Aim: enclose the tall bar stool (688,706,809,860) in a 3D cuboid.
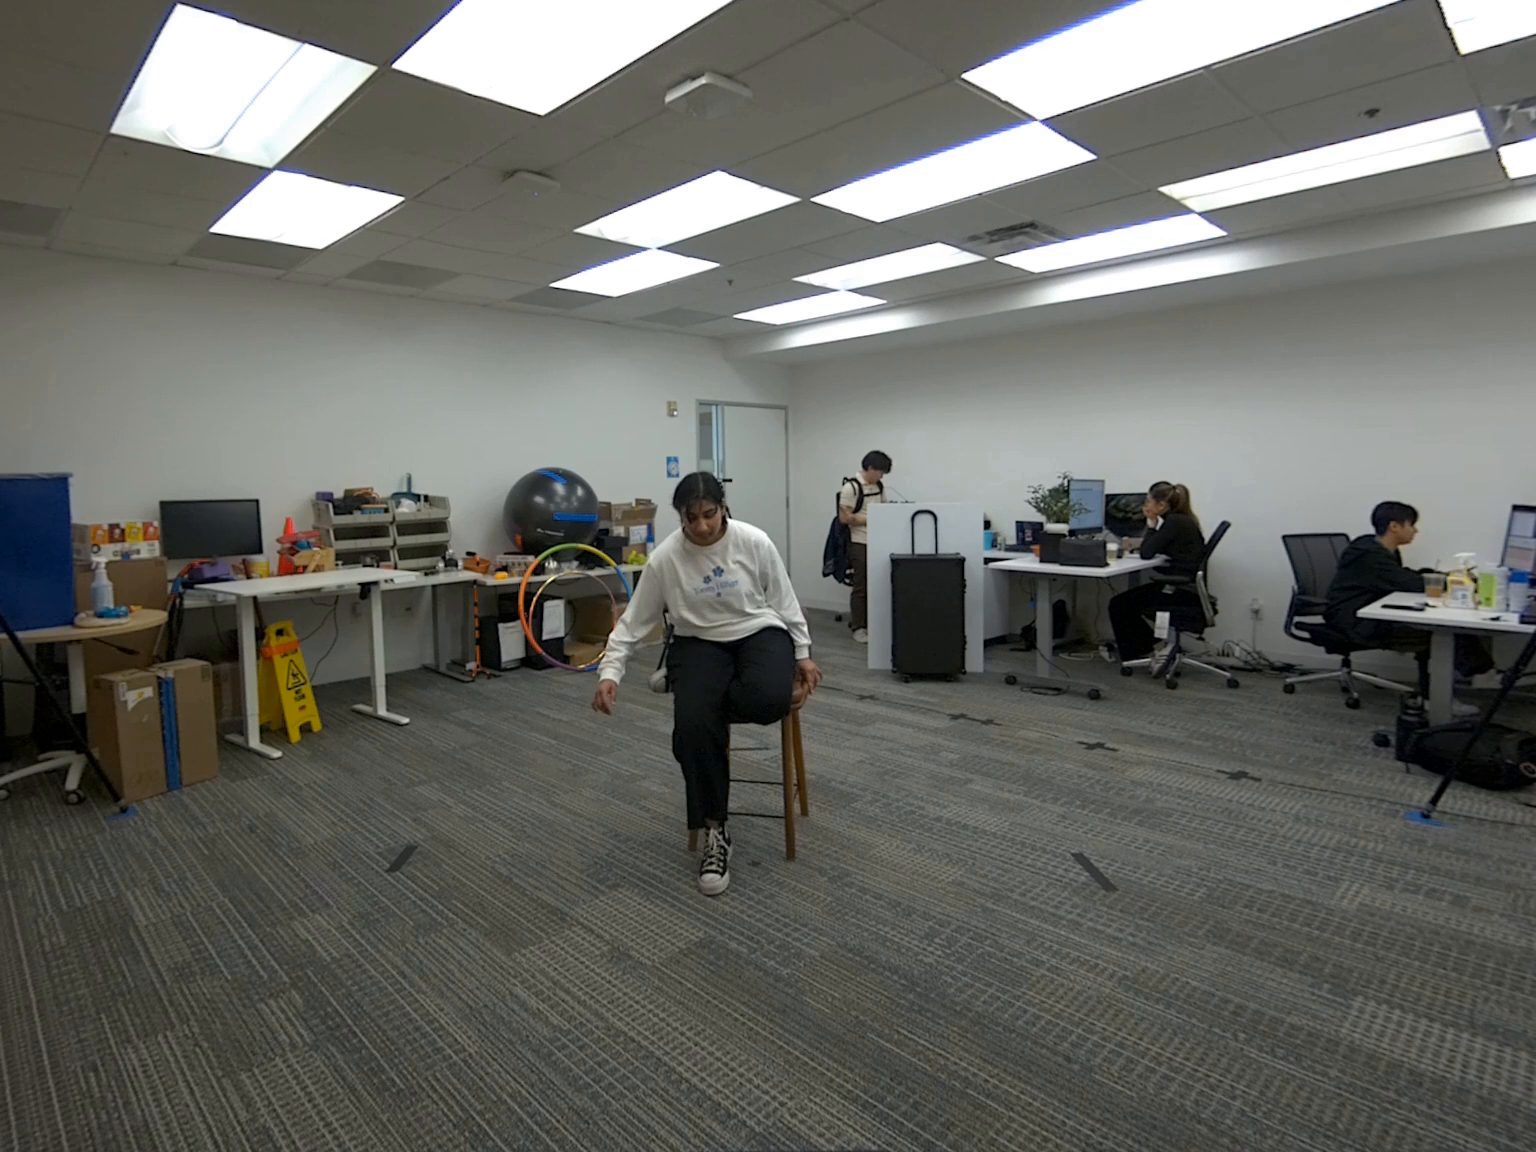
[{"bbox_3d":[-0.058,0.582,3.373,0.463,0.888,0.462,0,2,14],"label":"tall bar stool"}]
